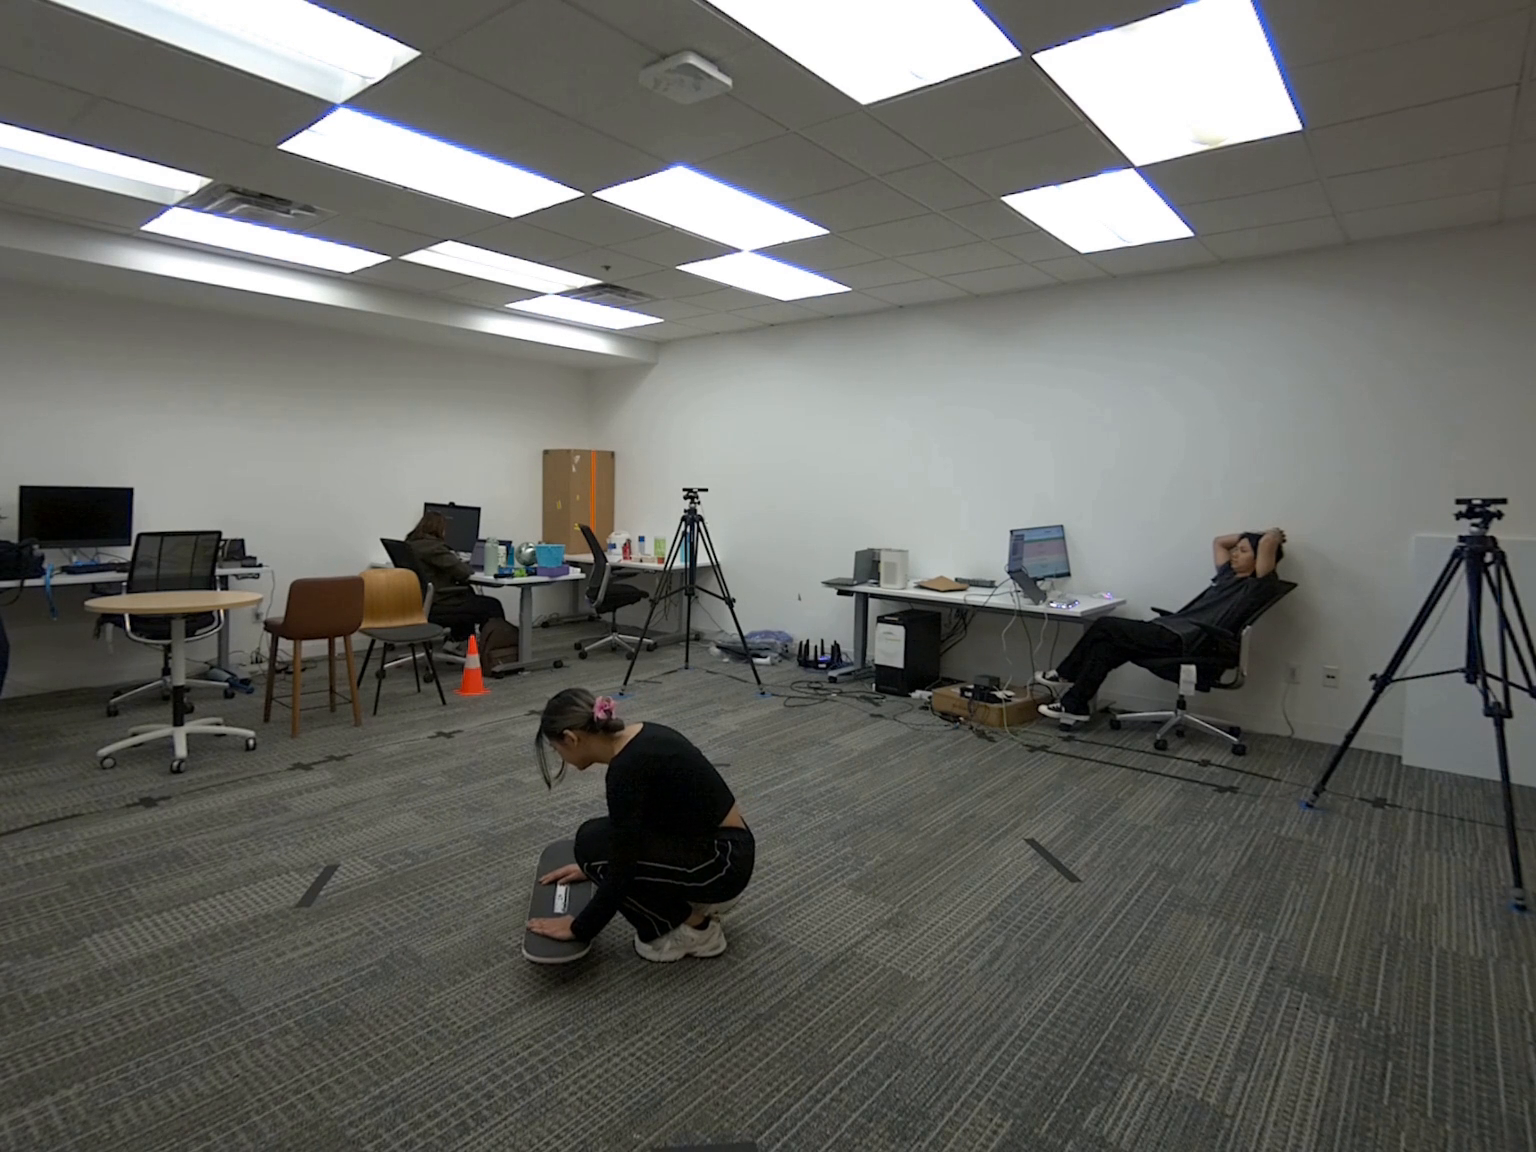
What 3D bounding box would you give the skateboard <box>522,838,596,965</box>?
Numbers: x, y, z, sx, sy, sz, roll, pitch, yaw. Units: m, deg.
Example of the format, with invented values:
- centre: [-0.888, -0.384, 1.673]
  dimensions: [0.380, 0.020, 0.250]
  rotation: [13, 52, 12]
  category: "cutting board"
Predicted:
- centre: [-0.661, 1.045, 2.696]
  dimensions: [0.191, 0.110, 0.796]
  rotation: [1, 5, -11]
  category: "skateboard"
